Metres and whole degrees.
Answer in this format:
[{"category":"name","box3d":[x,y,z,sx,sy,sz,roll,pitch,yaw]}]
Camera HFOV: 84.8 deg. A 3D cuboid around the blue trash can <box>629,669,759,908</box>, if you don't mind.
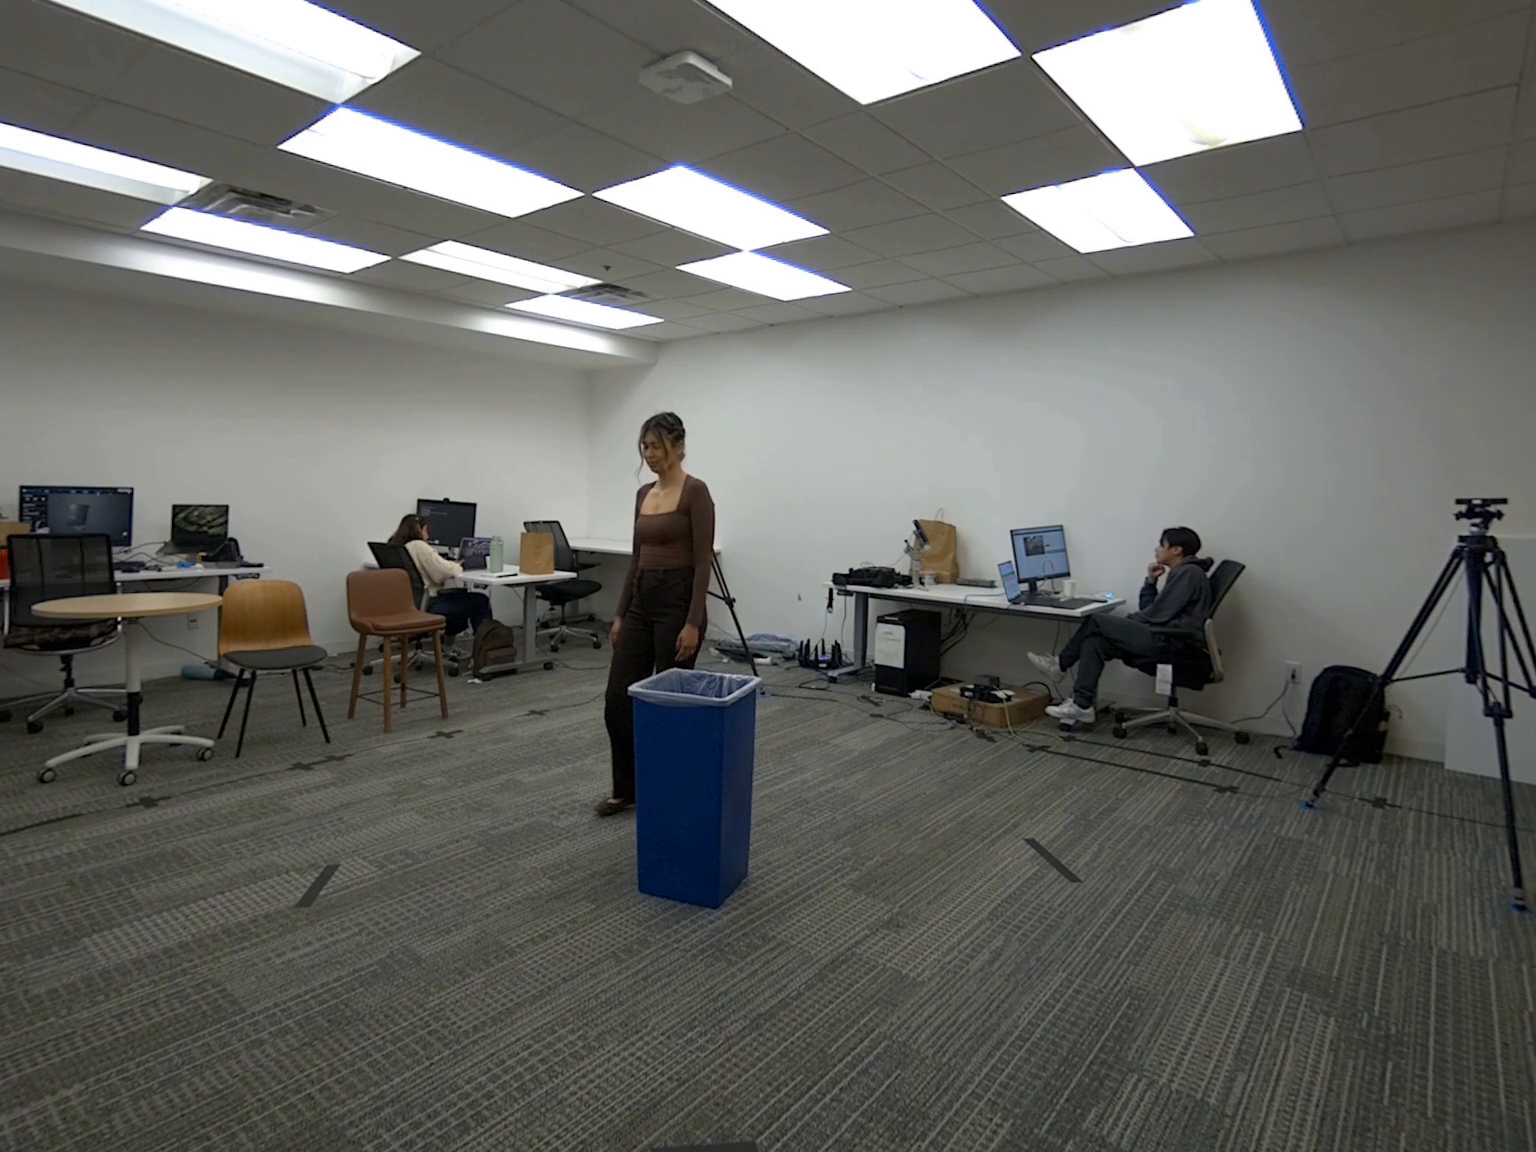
[{"category":"blue trash can","box3d":[-0.262,0.722,2.977,0.387,0.712,0.366,2,3,22]}]
